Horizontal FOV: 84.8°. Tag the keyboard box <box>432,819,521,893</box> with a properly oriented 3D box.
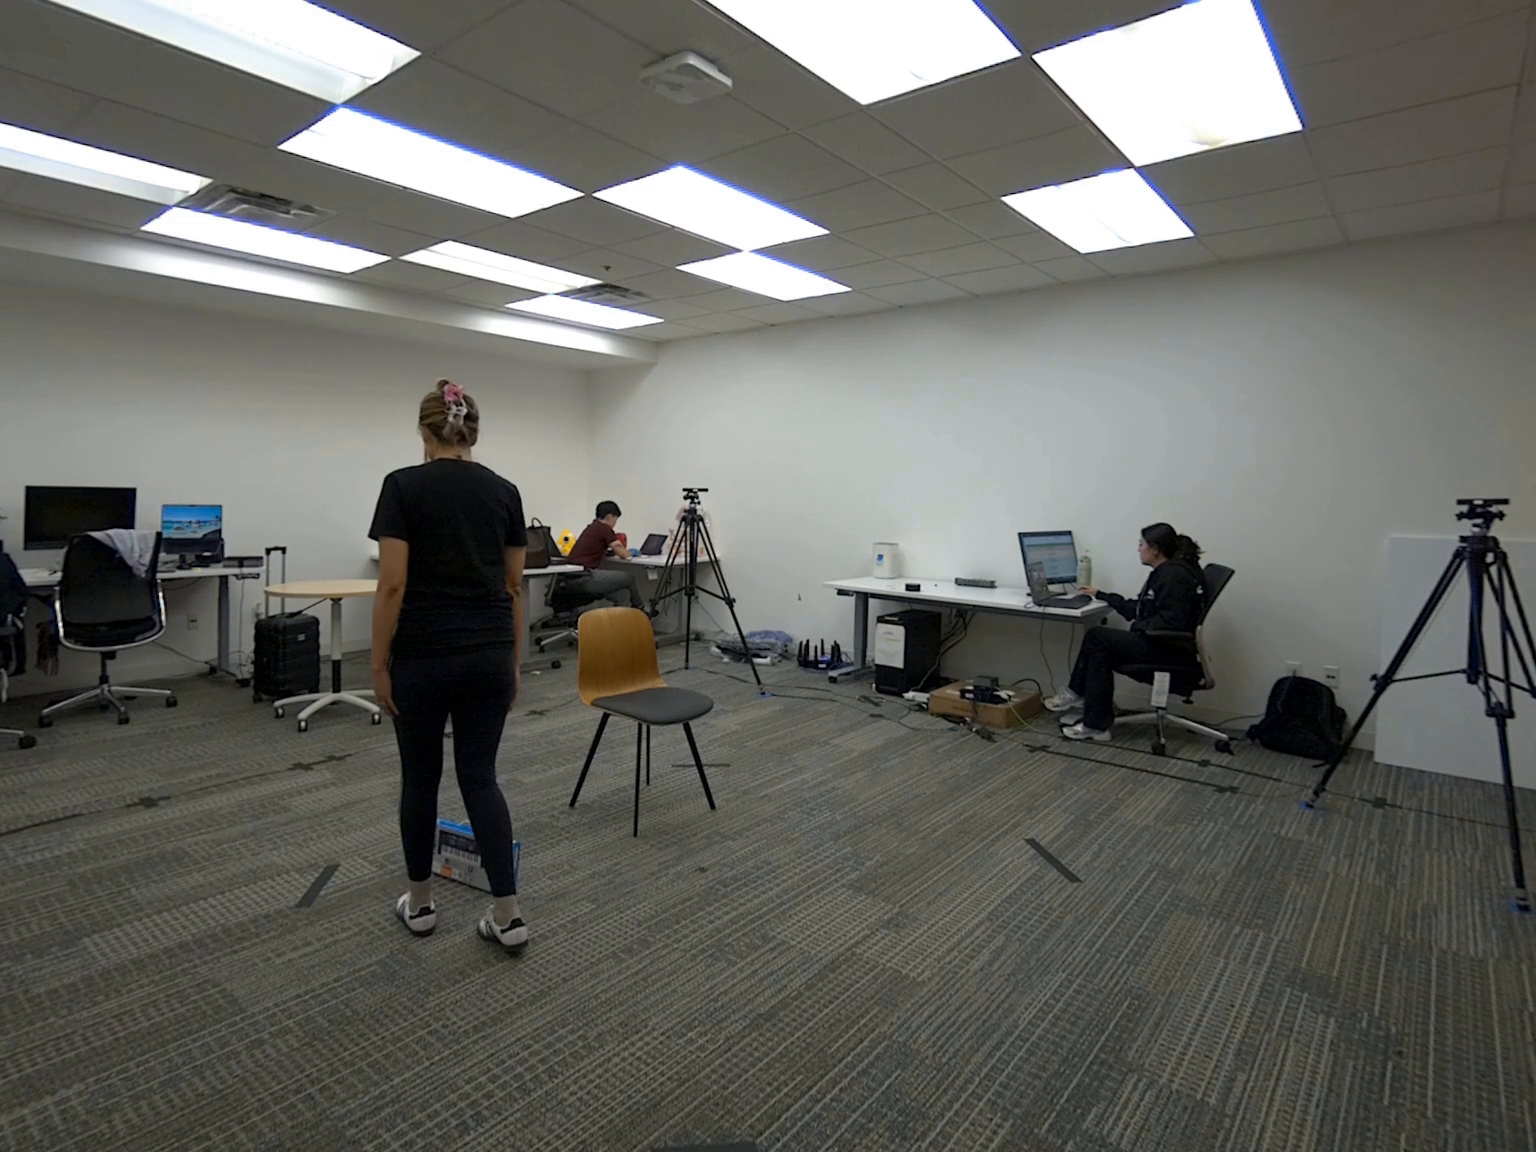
[{"bbox_3d":[-1.075,0.984,2.992,0.449,0.176,0.057,4,-1,29],"label":"keyboard box"}]
